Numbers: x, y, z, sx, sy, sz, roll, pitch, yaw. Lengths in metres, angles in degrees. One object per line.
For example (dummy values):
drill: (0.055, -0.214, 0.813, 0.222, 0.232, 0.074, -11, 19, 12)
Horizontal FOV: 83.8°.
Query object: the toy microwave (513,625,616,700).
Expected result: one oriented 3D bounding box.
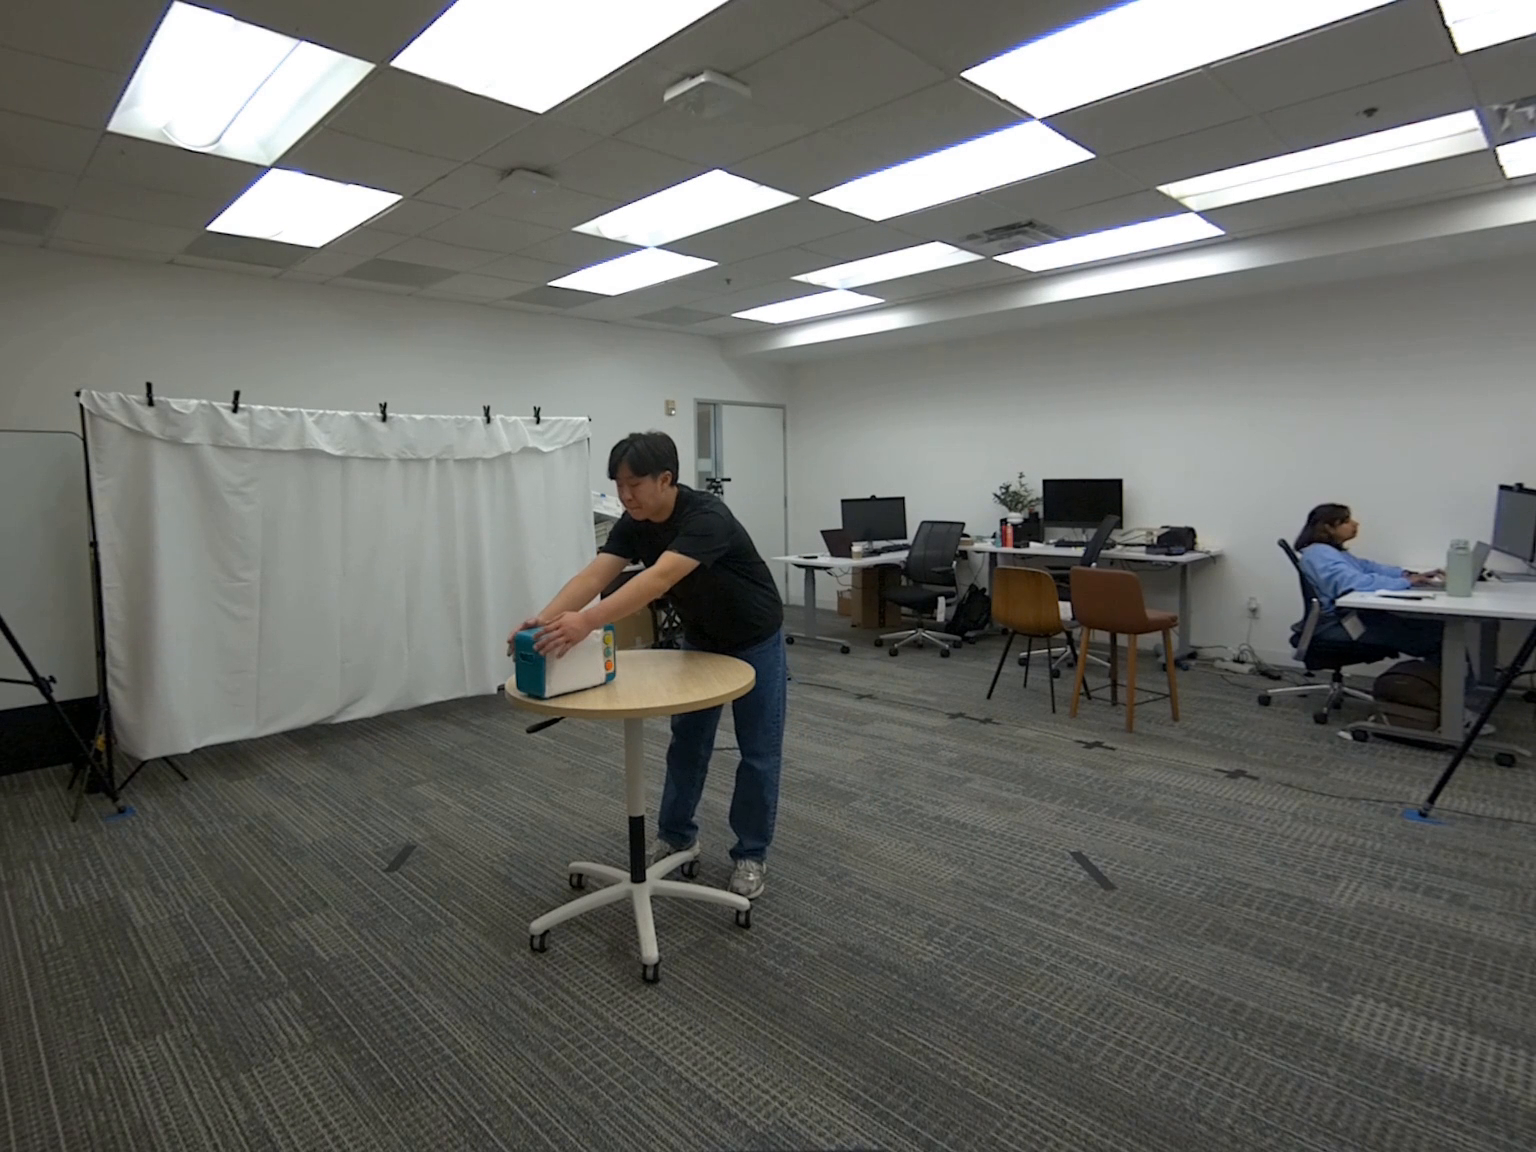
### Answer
toy microwave: (-0.578, 0.240, 2.483, 0.157, 0.183, 0.279, 3, 6, 39)
